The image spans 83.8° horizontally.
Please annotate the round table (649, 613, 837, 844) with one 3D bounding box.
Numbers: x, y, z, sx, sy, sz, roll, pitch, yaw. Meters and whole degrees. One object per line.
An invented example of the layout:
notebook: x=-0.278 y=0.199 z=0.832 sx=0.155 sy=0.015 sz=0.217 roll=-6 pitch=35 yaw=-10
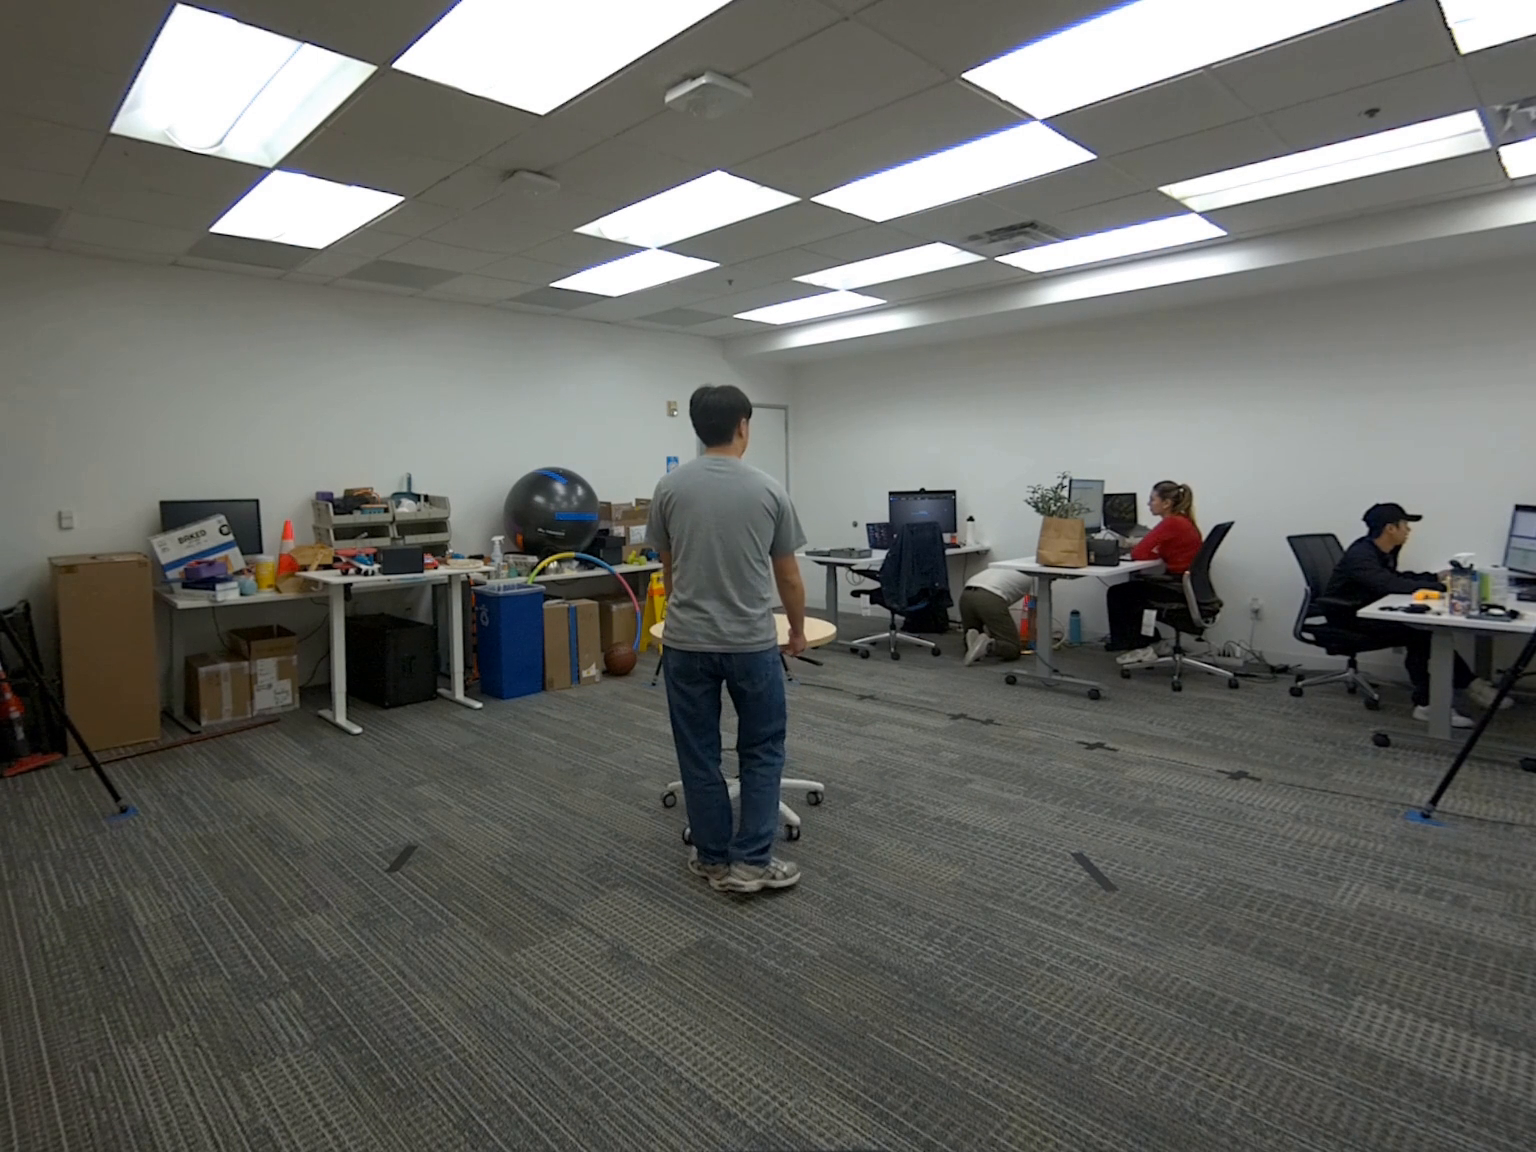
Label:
round table: x=-0.091 y=0.607 z=3.543 sx=0.763 sy=0.791 sz=0.768 roll=-1 pitch=5 yaw=-2
